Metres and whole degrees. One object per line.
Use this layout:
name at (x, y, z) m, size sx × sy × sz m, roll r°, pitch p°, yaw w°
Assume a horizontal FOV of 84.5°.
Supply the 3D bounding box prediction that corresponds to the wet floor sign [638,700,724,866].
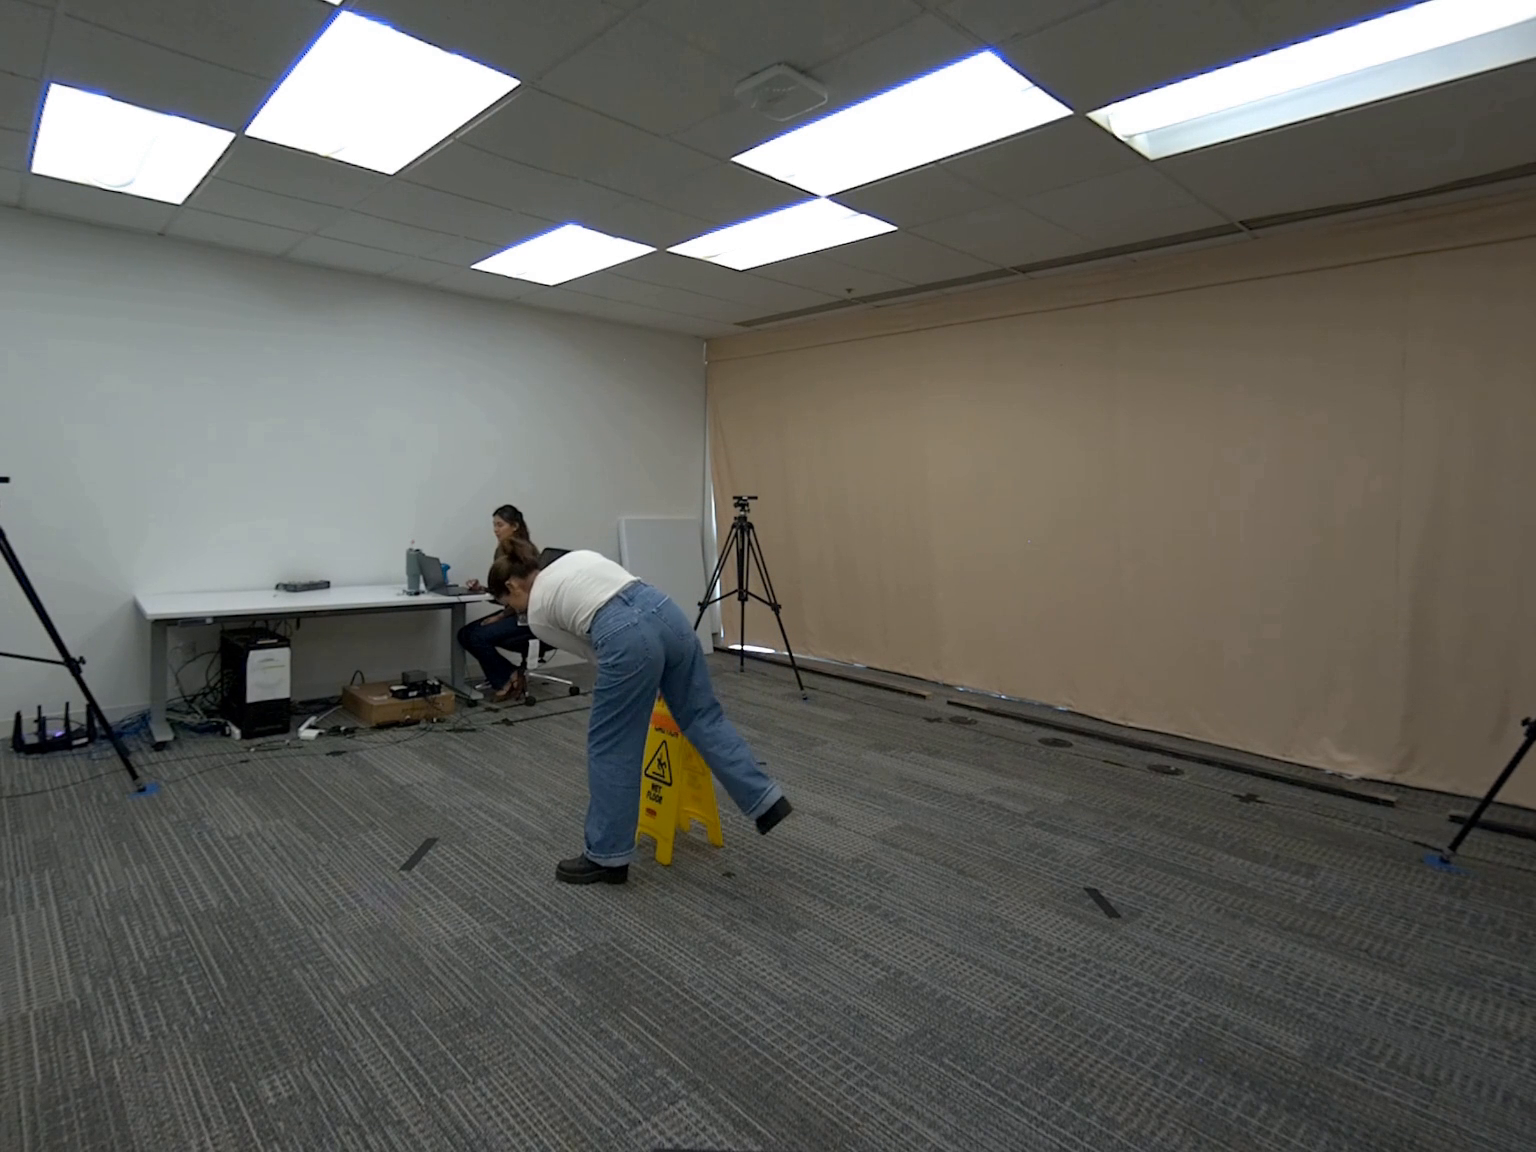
wet floor sign at (-0.373, 0.755, 3.350) m, size 0.283 × 0.645 × 0.289 m, roll 0°, pitch 3°, yaw -44°
